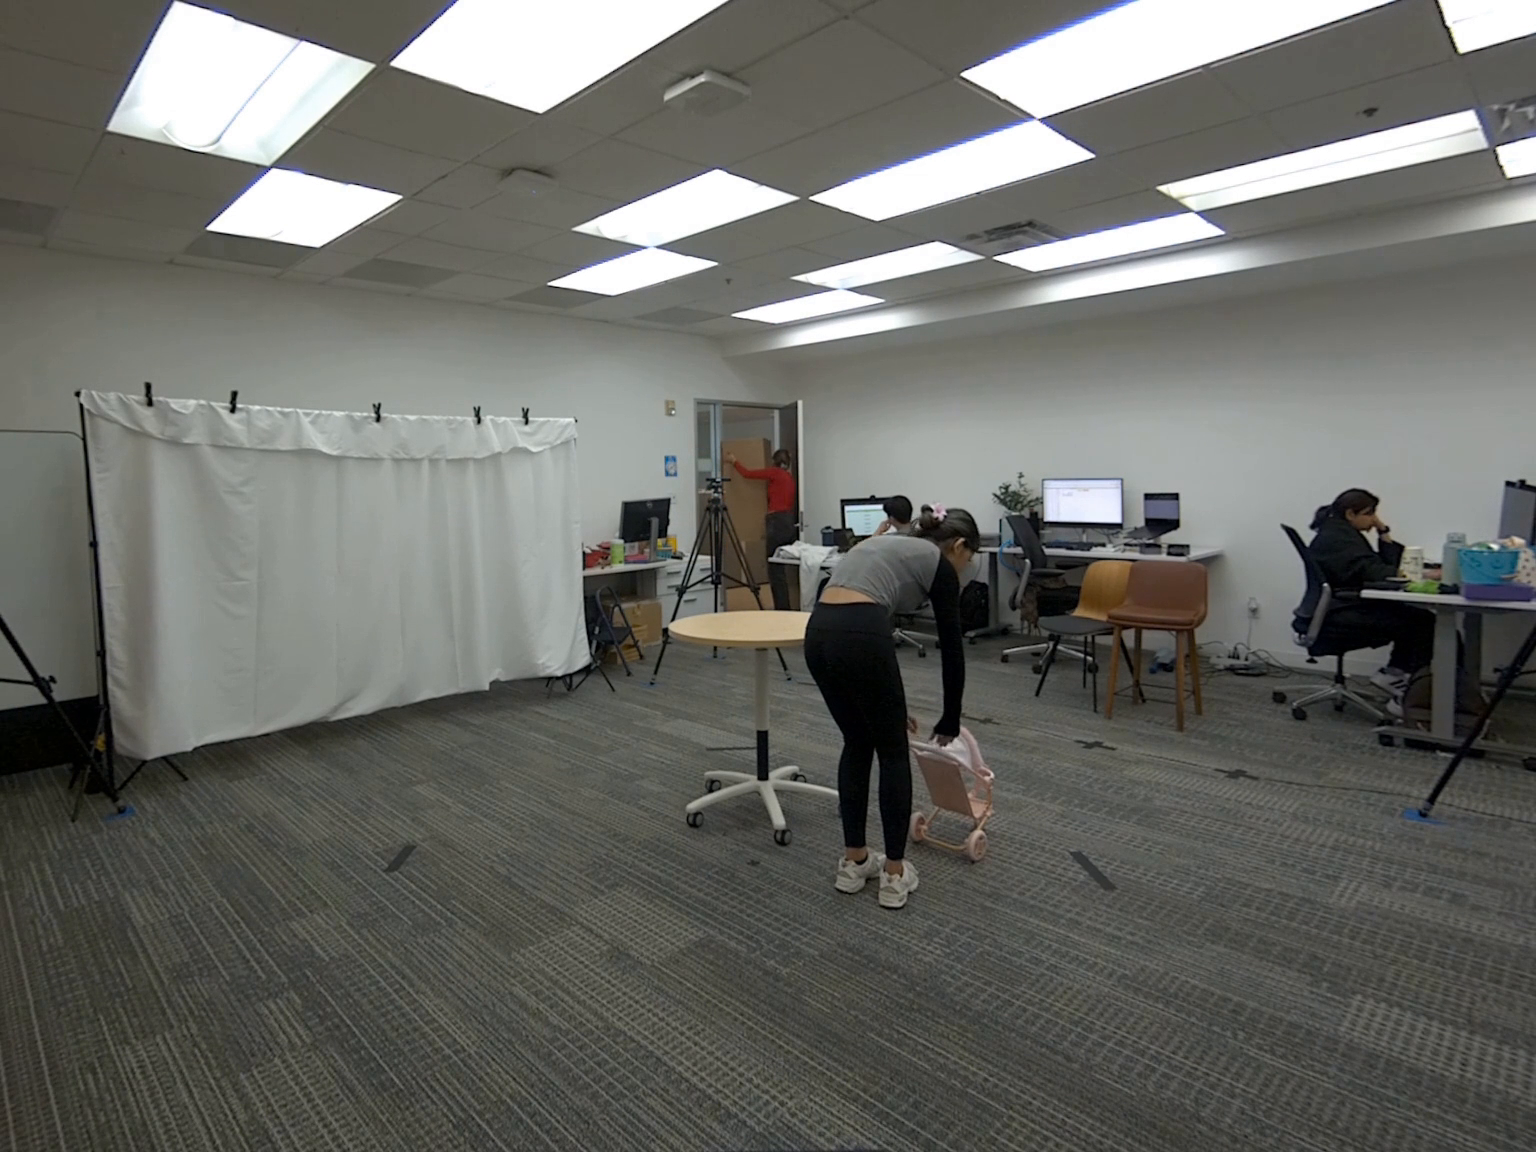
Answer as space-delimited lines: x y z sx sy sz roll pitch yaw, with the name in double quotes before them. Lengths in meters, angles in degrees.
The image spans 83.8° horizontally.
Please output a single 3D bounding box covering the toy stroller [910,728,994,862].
"toy stroller" 0.707 0.791 3.214 0.336 0.527 0.290 -23 18 -39
